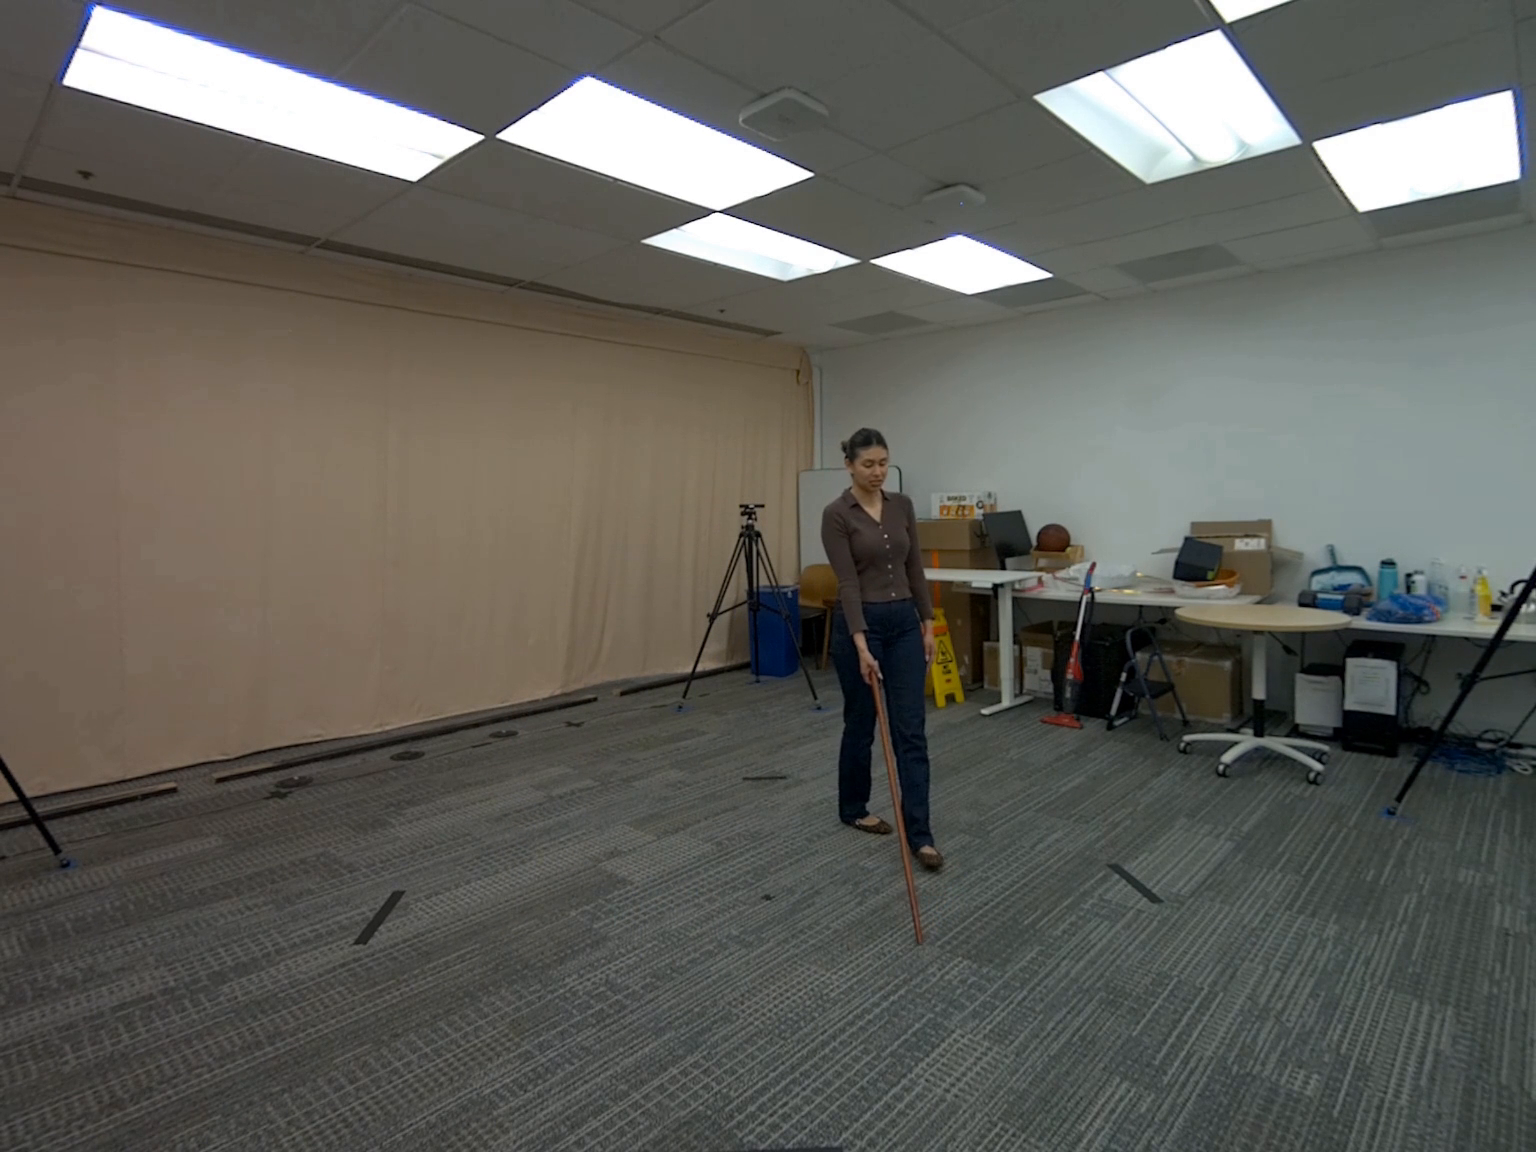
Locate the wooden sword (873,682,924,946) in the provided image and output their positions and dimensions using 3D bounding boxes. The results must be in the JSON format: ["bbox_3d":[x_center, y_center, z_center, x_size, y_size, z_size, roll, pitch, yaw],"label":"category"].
[{"bbox_3d":[0.455,0.745,2.969,0.051,1.046,0.023,-7,-35,0],"label":"wooden sword"}]
